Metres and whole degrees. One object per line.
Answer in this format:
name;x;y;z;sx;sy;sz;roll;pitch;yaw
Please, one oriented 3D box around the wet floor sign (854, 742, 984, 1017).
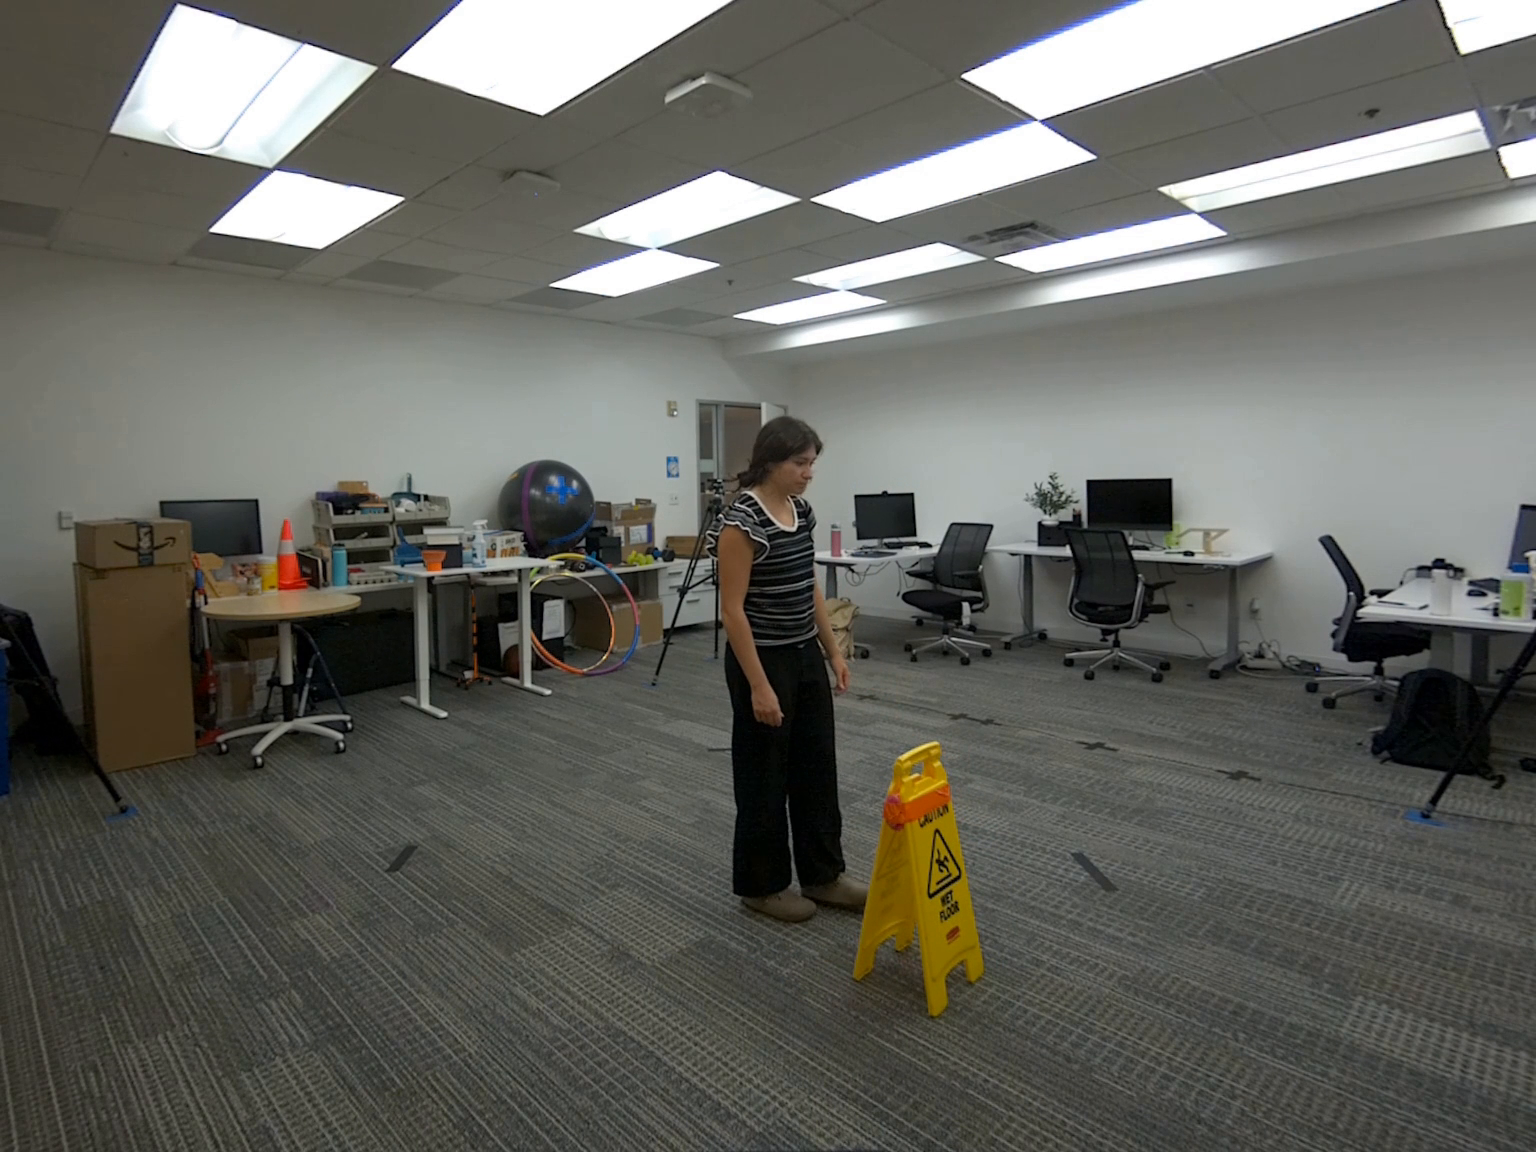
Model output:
wet floor sign;0.424;0.800;2.360;0.299;0.643;0.275;4;7;43
